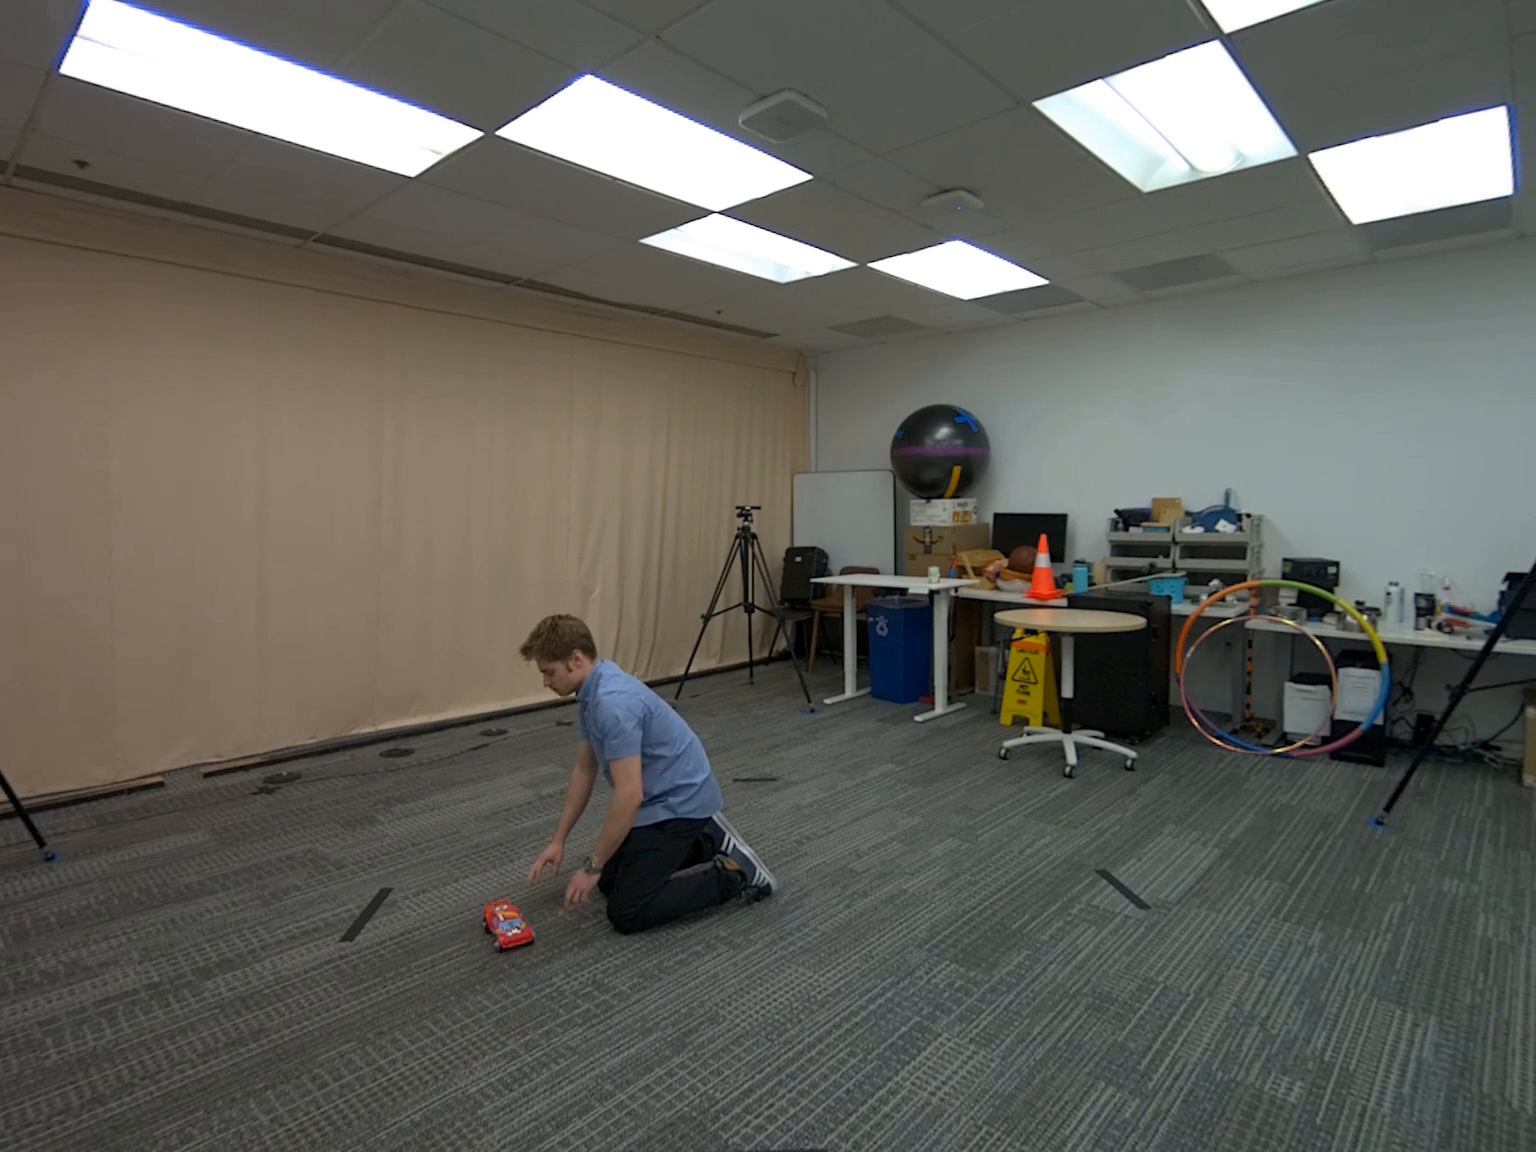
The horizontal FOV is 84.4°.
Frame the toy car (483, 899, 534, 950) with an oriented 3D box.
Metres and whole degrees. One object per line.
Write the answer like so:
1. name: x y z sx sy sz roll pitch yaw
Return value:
1. toy car: -0.854 1.144 2.745 0.127 0.082 0.263 -5 16 -31
